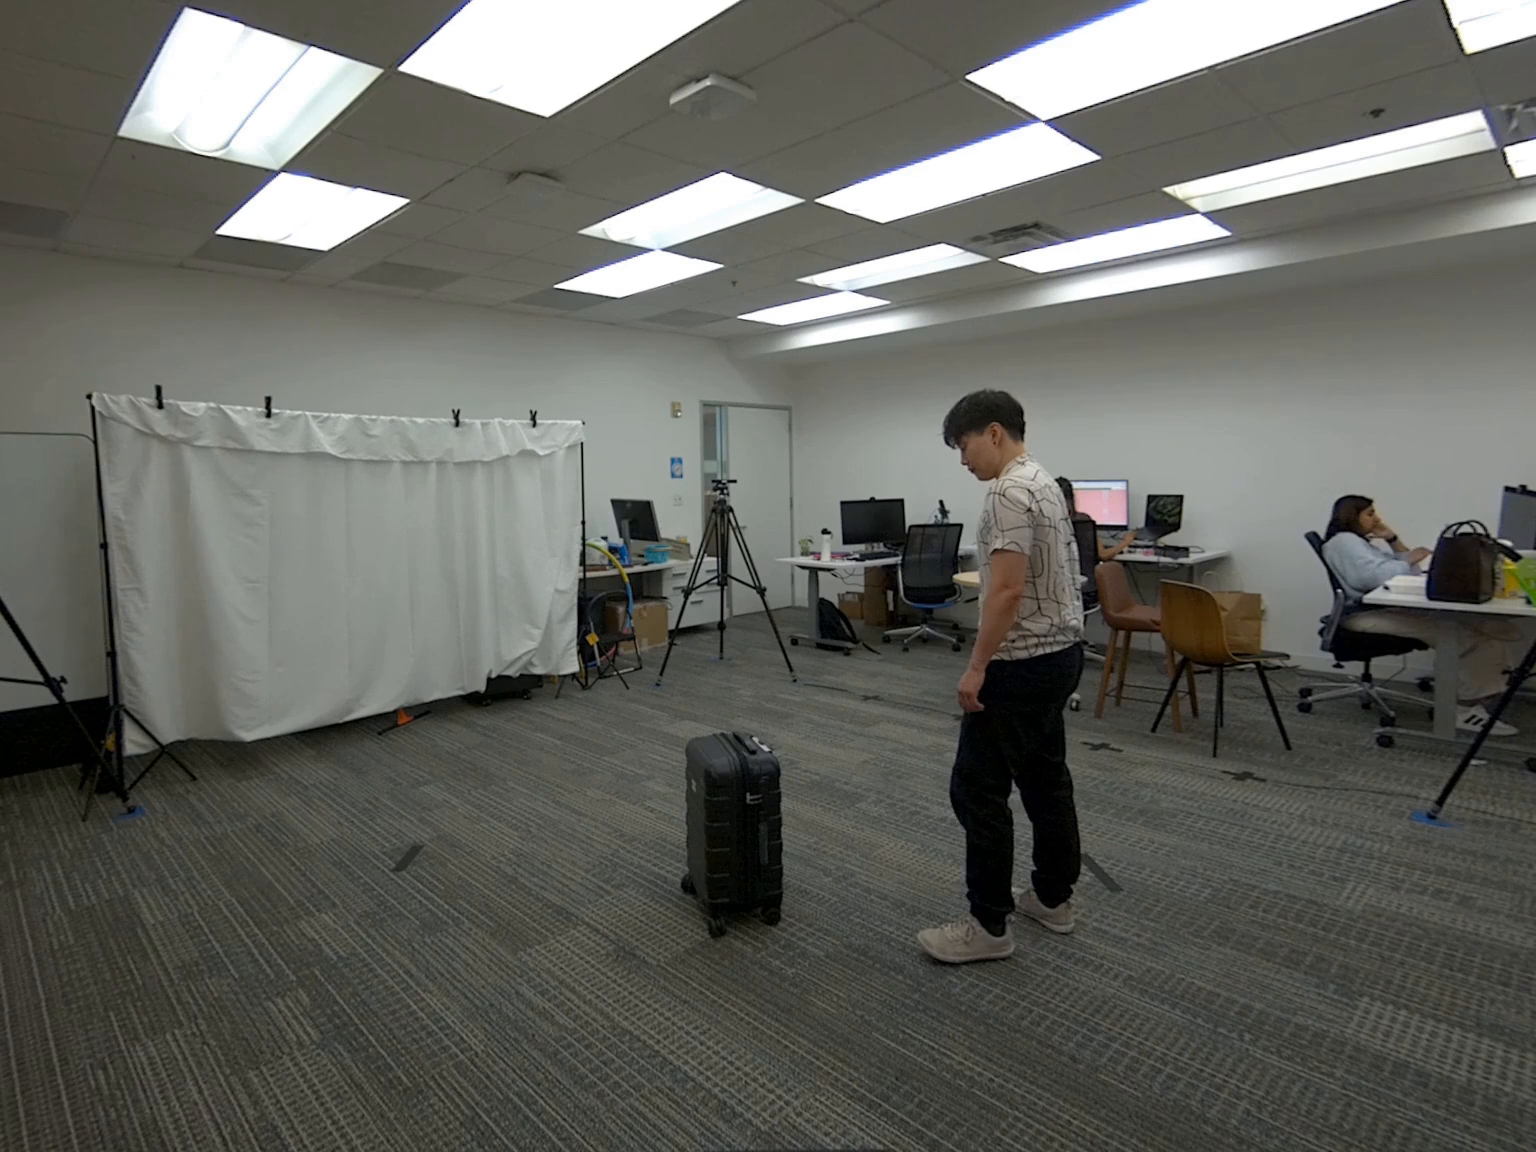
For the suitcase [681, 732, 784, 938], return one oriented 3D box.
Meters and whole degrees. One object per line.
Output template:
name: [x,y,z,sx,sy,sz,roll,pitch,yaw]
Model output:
suitcase: [-0.114,0.809,2.797,0.244,0.547,0.383,-3,5,-18]
